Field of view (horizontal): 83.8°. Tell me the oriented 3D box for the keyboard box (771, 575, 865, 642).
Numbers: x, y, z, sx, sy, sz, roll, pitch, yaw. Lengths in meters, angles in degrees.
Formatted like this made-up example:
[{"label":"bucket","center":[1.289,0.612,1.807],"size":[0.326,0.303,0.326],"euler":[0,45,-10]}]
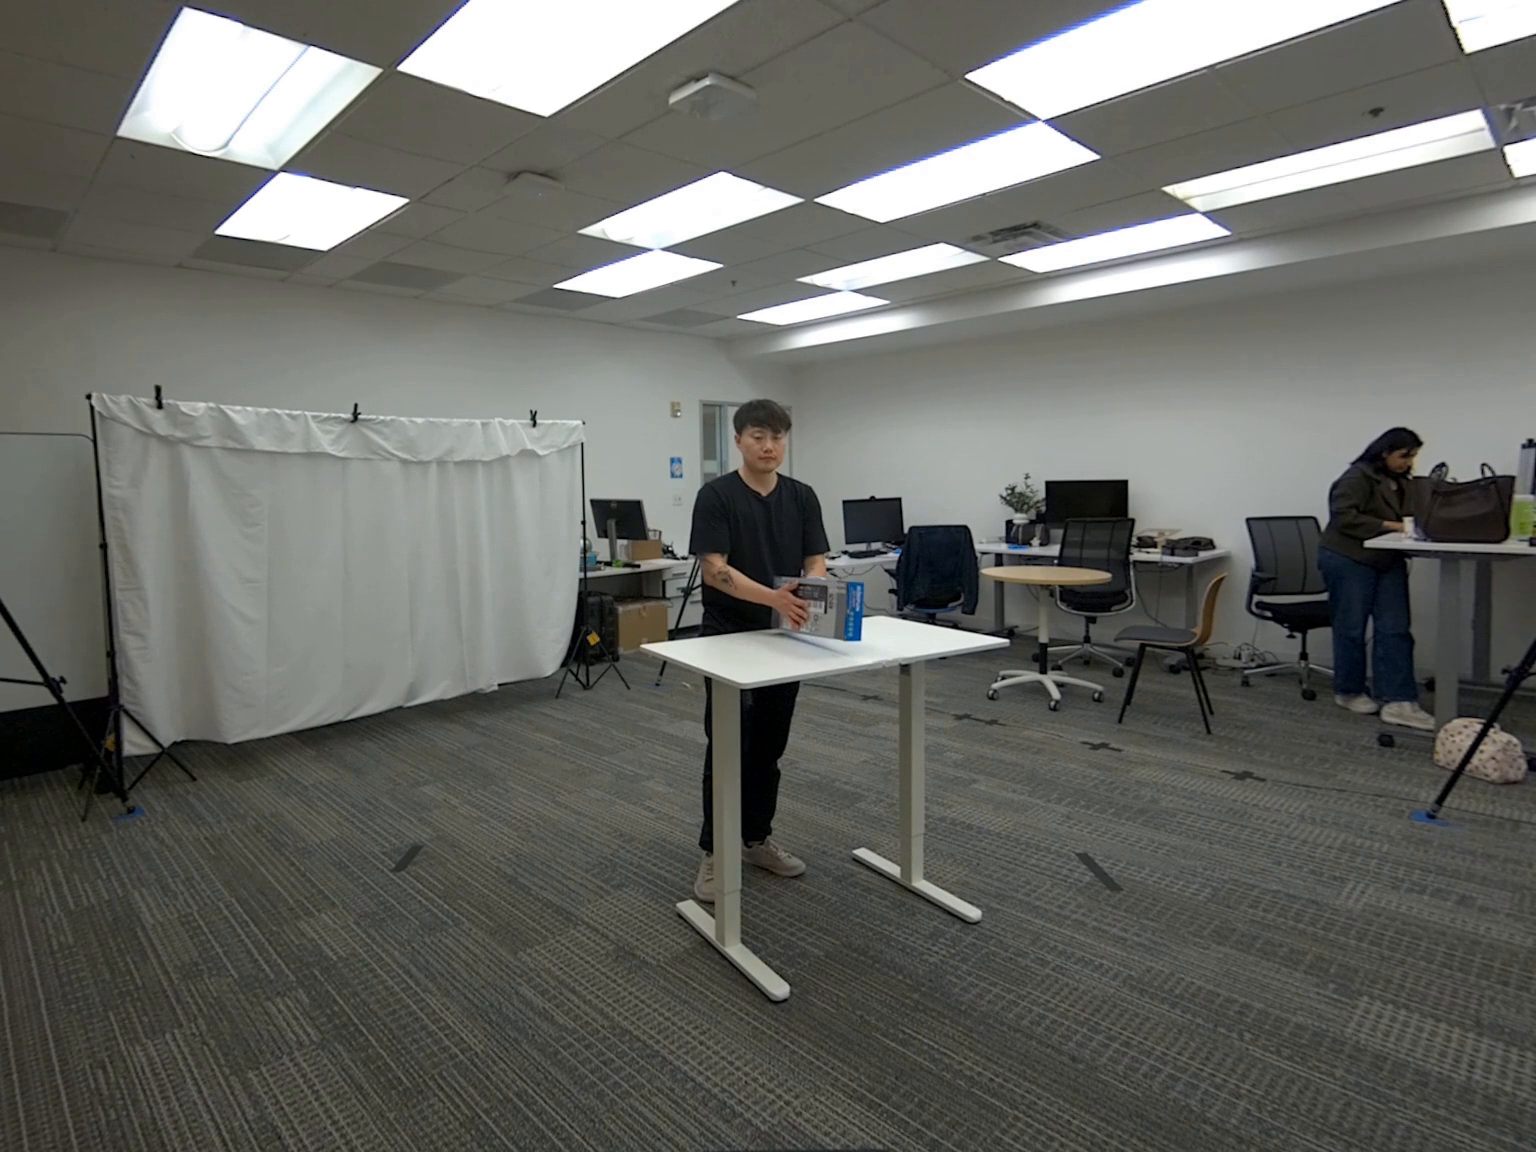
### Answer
[{"label":"keyboard box","center":[0.144,0.102,2.658],"size":[0.058,0.176,0.447],"euler":[3,0,-27]}]
